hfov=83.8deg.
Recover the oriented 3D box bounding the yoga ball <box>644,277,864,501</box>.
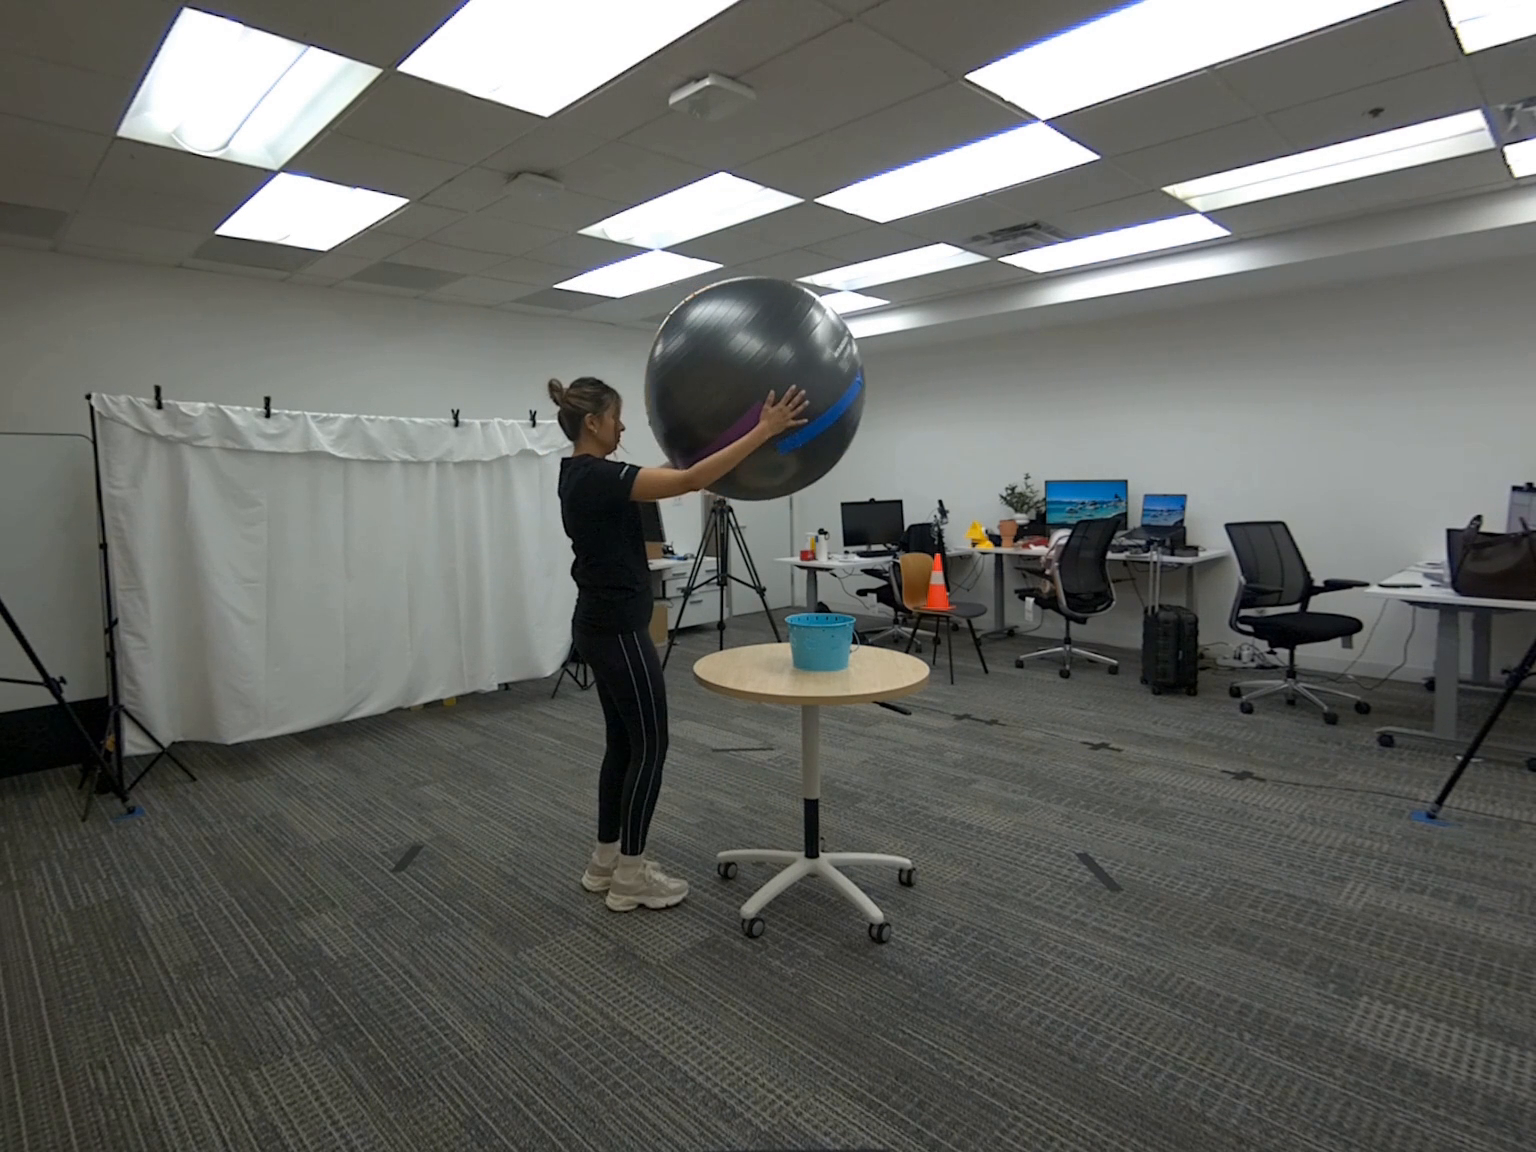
[{"bbox_3d":[-0.049,-0.632,2.933,0.757,0.755,0.762,-1,5,-2],"label":"yoga ball"}]
